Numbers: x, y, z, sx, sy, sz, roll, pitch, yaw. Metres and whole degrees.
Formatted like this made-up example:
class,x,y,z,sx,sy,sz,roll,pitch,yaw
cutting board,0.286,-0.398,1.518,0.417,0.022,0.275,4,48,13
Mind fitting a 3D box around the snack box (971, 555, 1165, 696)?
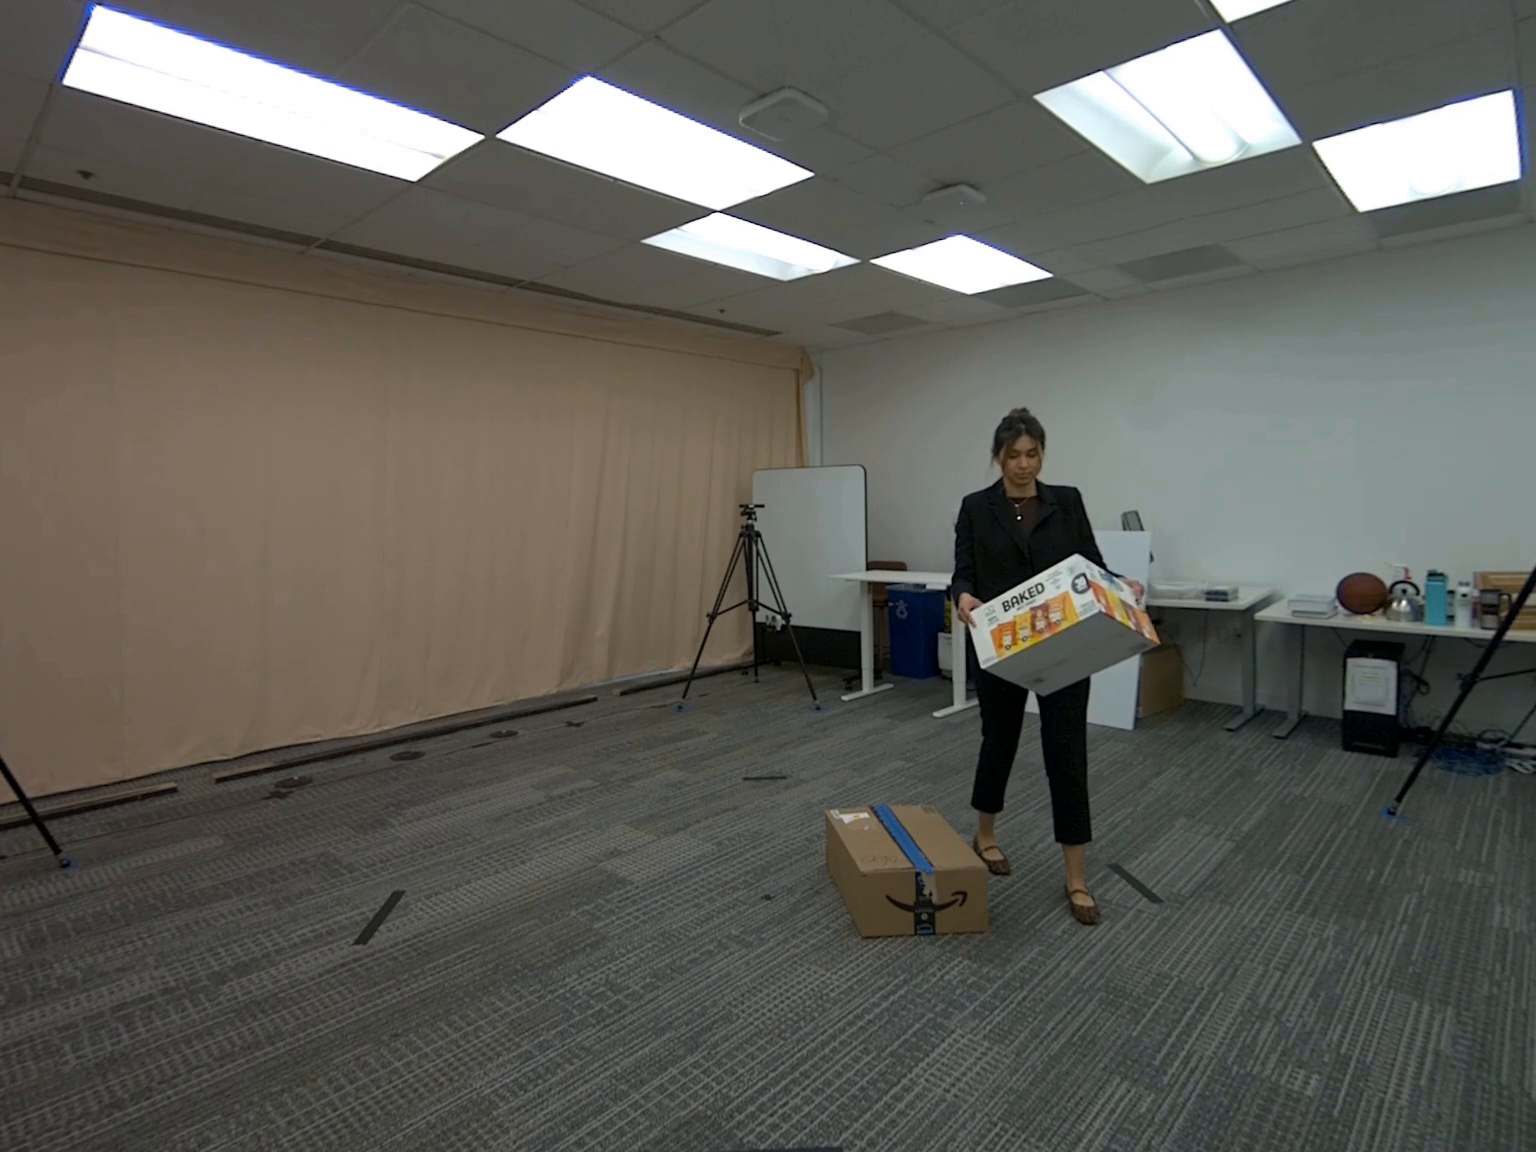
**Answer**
class,x,y,z,sx,sy,sz,roll,pitch,yaw
snack box,0.909,0.160,2.613,0.329,0.210,0.411,25,-46,-35
